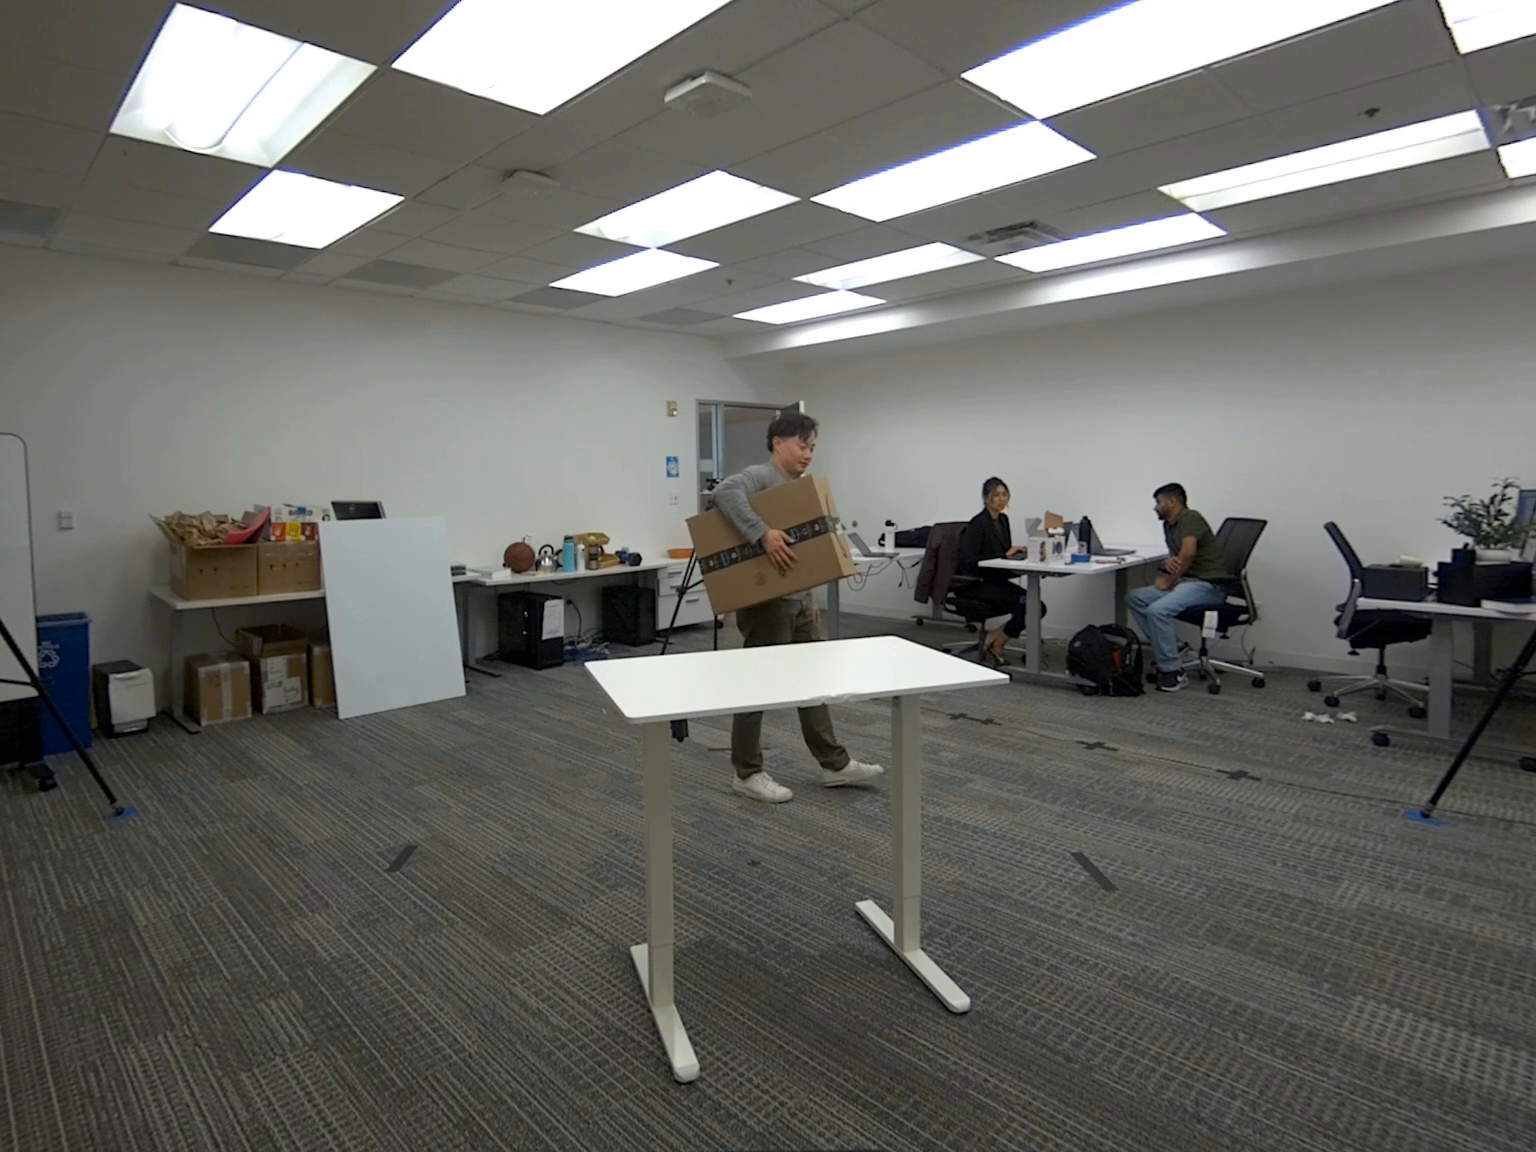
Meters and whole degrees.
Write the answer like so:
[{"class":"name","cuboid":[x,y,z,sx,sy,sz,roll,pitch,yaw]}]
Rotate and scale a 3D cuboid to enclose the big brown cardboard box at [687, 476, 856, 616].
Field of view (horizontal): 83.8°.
[{"class":"big brown cardboard box","cuboid":[0.010,-0.117,3.458,0.597,0.421,0.228,-18,-6,22]}]
